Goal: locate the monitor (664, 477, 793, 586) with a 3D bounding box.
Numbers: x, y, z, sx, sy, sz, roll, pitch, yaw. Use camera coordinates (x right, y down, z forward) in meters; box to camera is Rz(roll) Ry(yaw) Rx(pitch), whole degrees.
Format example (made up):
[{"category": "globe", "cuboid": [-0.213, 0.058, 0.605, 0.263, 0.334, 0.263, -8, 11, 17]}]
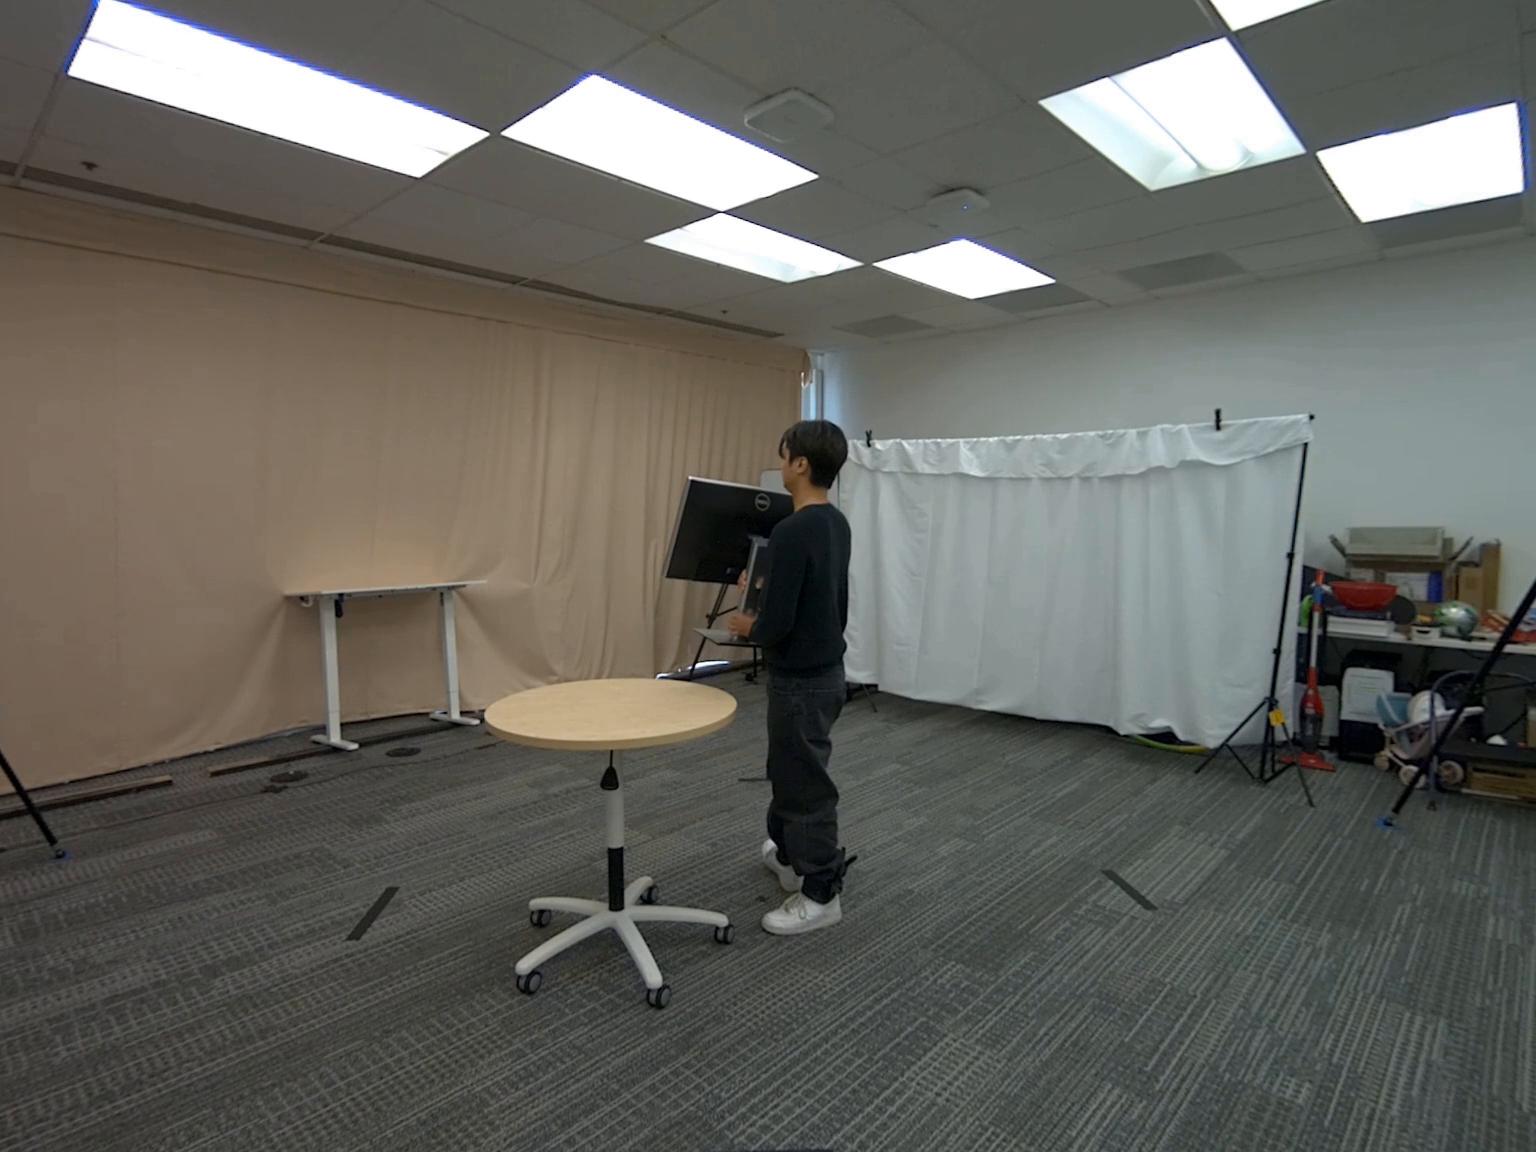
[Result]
[{"category": "monitor", "cuboid": [-0.074, -0.046, 2.938, 0.515, 0.515, 0.180, 6, 2, -29]}]
